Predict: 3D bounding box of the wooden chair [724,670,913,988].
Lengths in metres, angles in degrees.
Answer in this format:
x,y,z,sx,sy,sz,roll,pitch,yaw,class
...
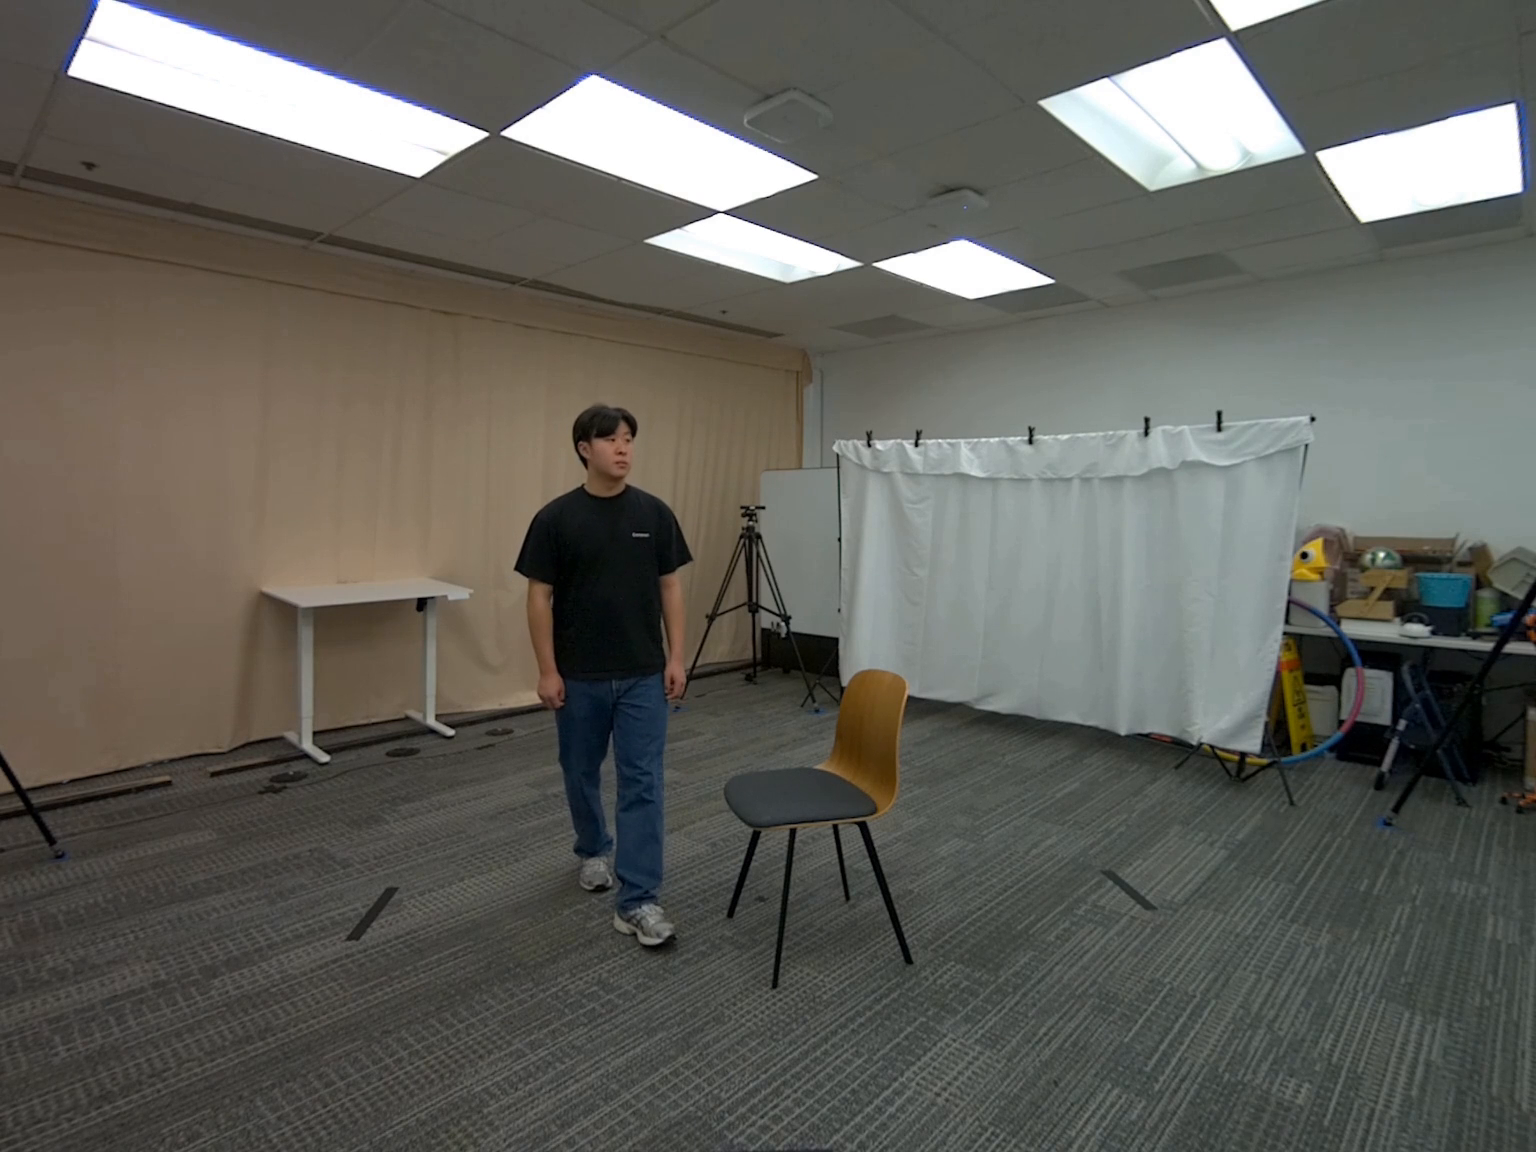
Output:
x,y,z,sx,sy,sz,roll,pitch,yaw,class
0.149,0.743,2.670,0.513,0.876,0.488,3,2,-19,wooden chair
